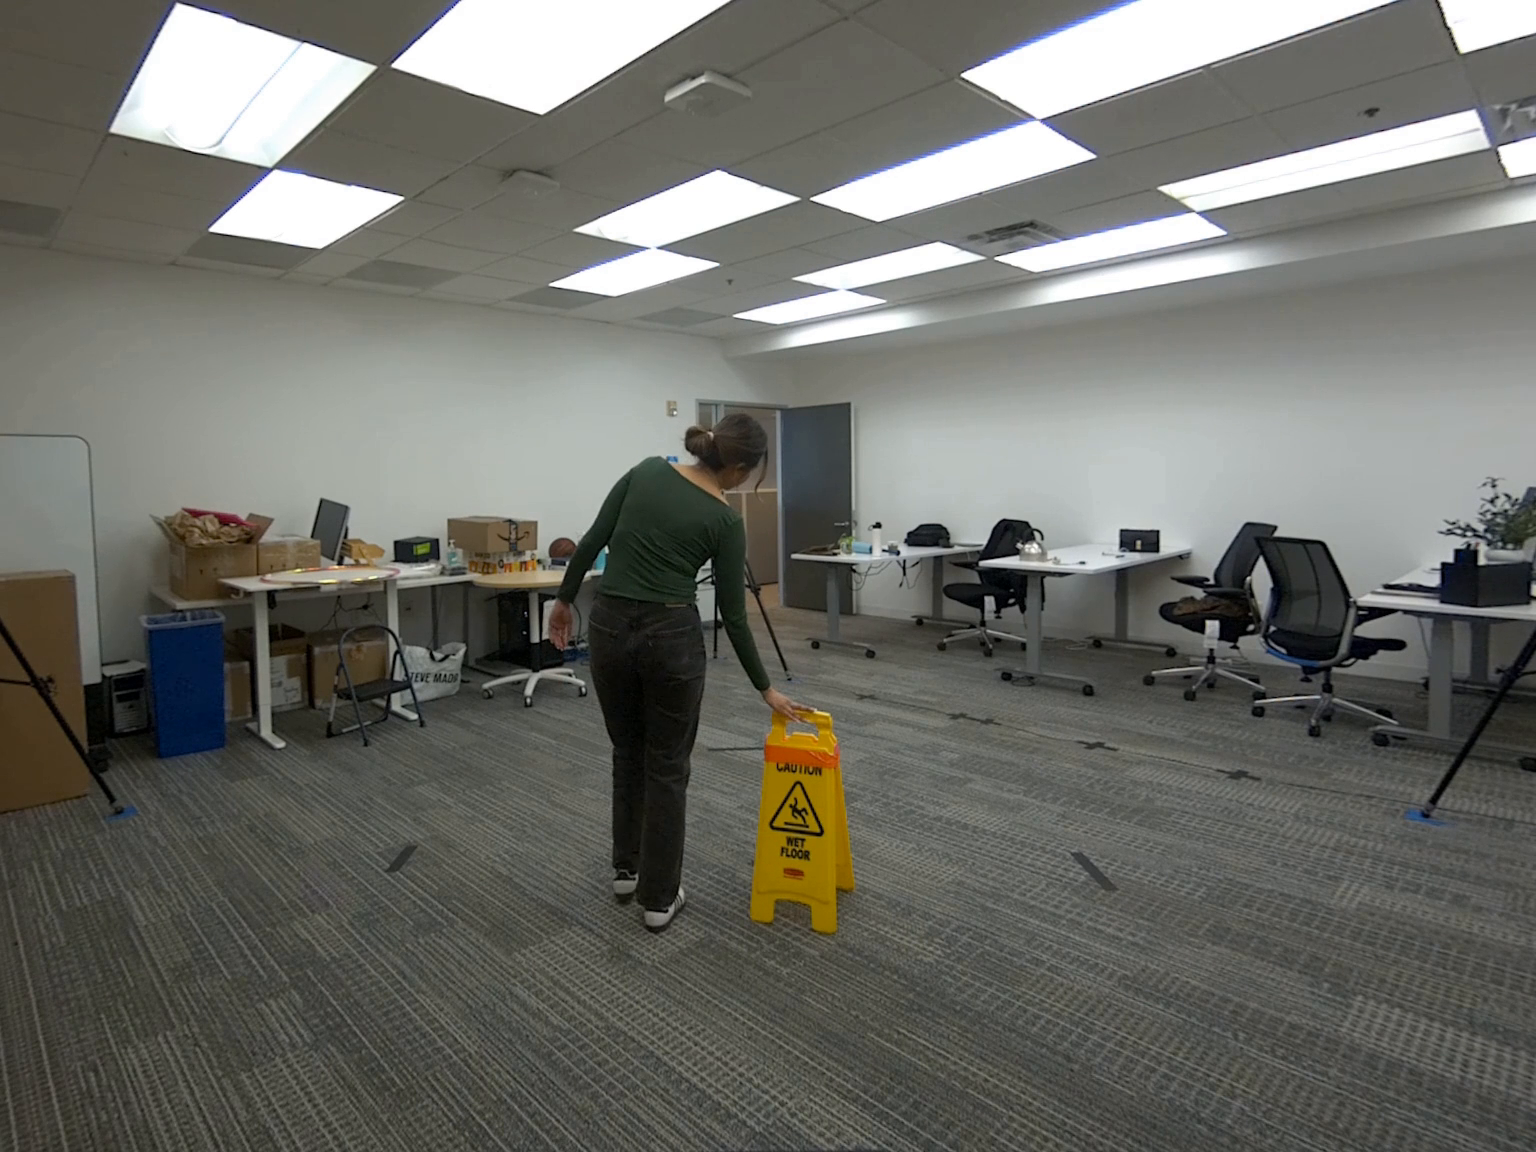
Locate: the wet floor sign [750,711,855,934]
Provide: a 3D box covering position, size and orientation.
[{"bbox_3d":[0.113,0.751,2.784,0.287,0.644,0.285,1,4,19],"label":"wet floor sign"}]
